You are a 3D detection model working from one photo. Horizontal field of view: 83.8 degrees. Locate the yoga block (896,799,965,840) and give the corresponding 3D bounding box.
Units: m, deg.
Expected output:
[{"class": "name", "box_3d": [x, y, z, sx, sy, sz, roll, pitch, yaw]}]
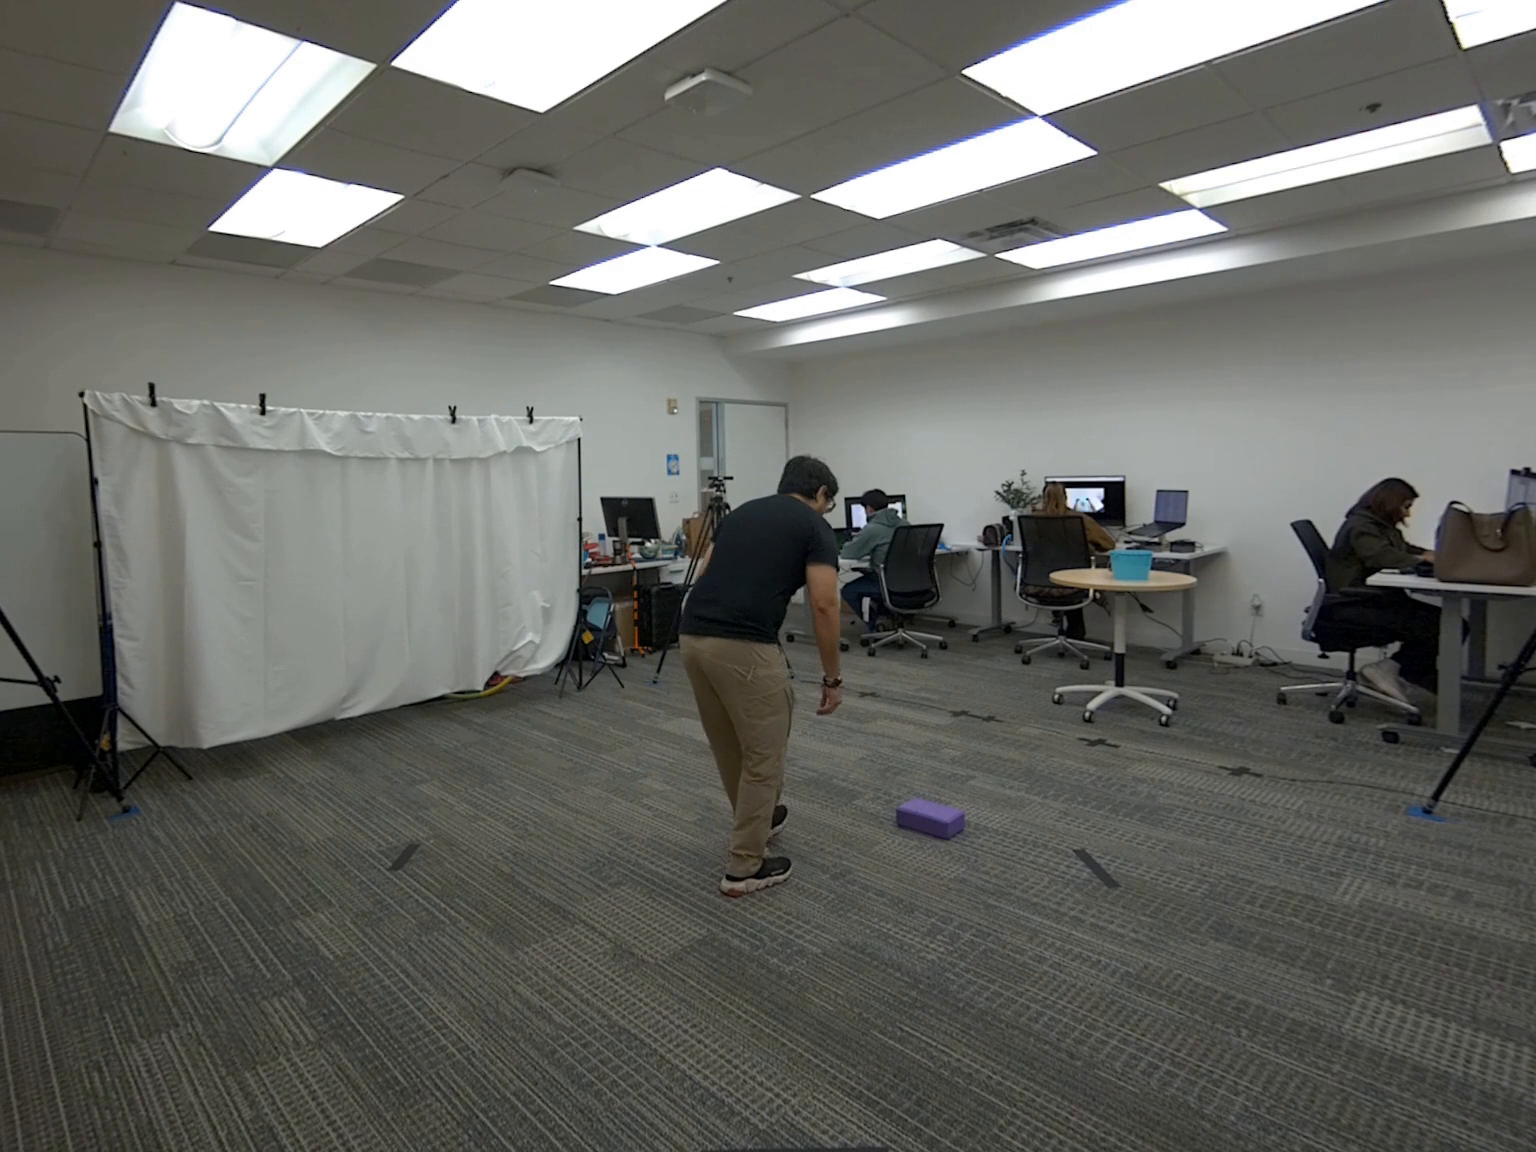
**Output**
[{"class": "yoga block", "box_3d": [0.640, 0.953, 3.370, 0.236, 0.076, 0.145, 5, 8, 42]}]
